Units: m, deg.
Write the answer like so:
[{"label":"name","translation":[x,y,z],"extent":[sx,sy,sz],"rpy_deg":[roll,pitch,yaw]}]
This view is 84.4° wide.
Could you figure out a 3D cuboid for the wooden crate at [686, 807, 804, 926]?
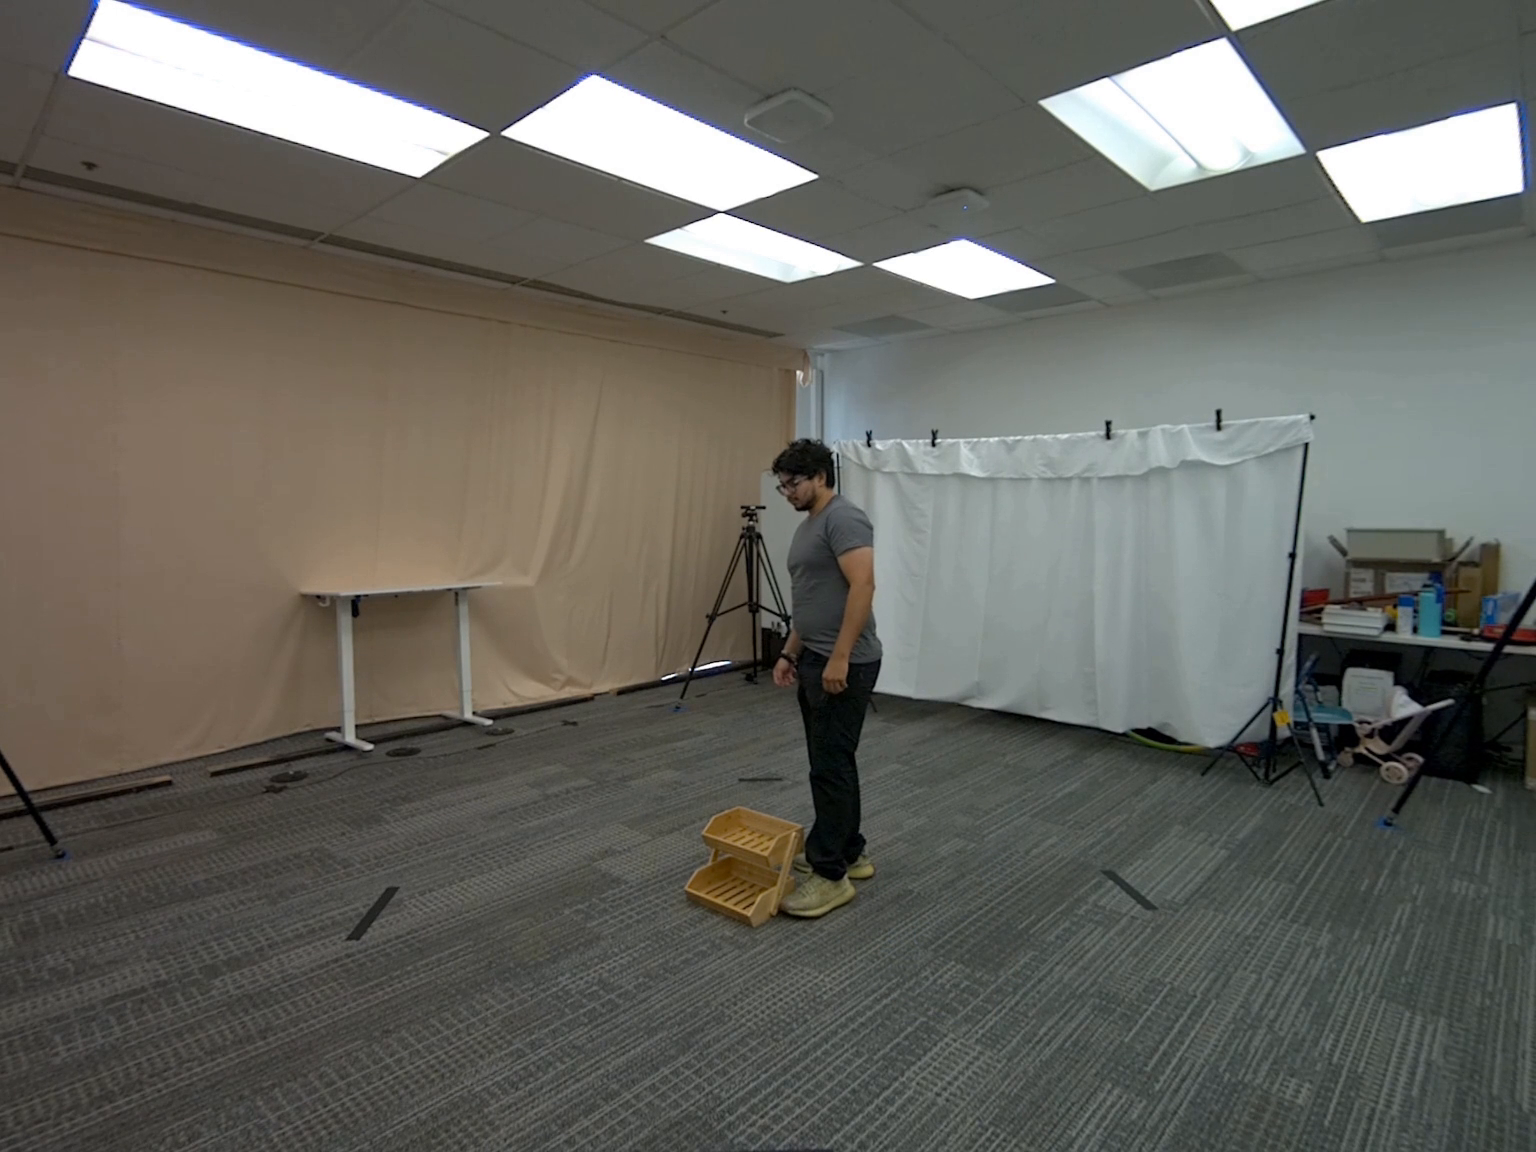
[{"label":"wooden crate","translation":[-0.080,1.013,2.967],"extent":[0.335,0.273,0.293],"rpy_deg":[4,5,40]}]
